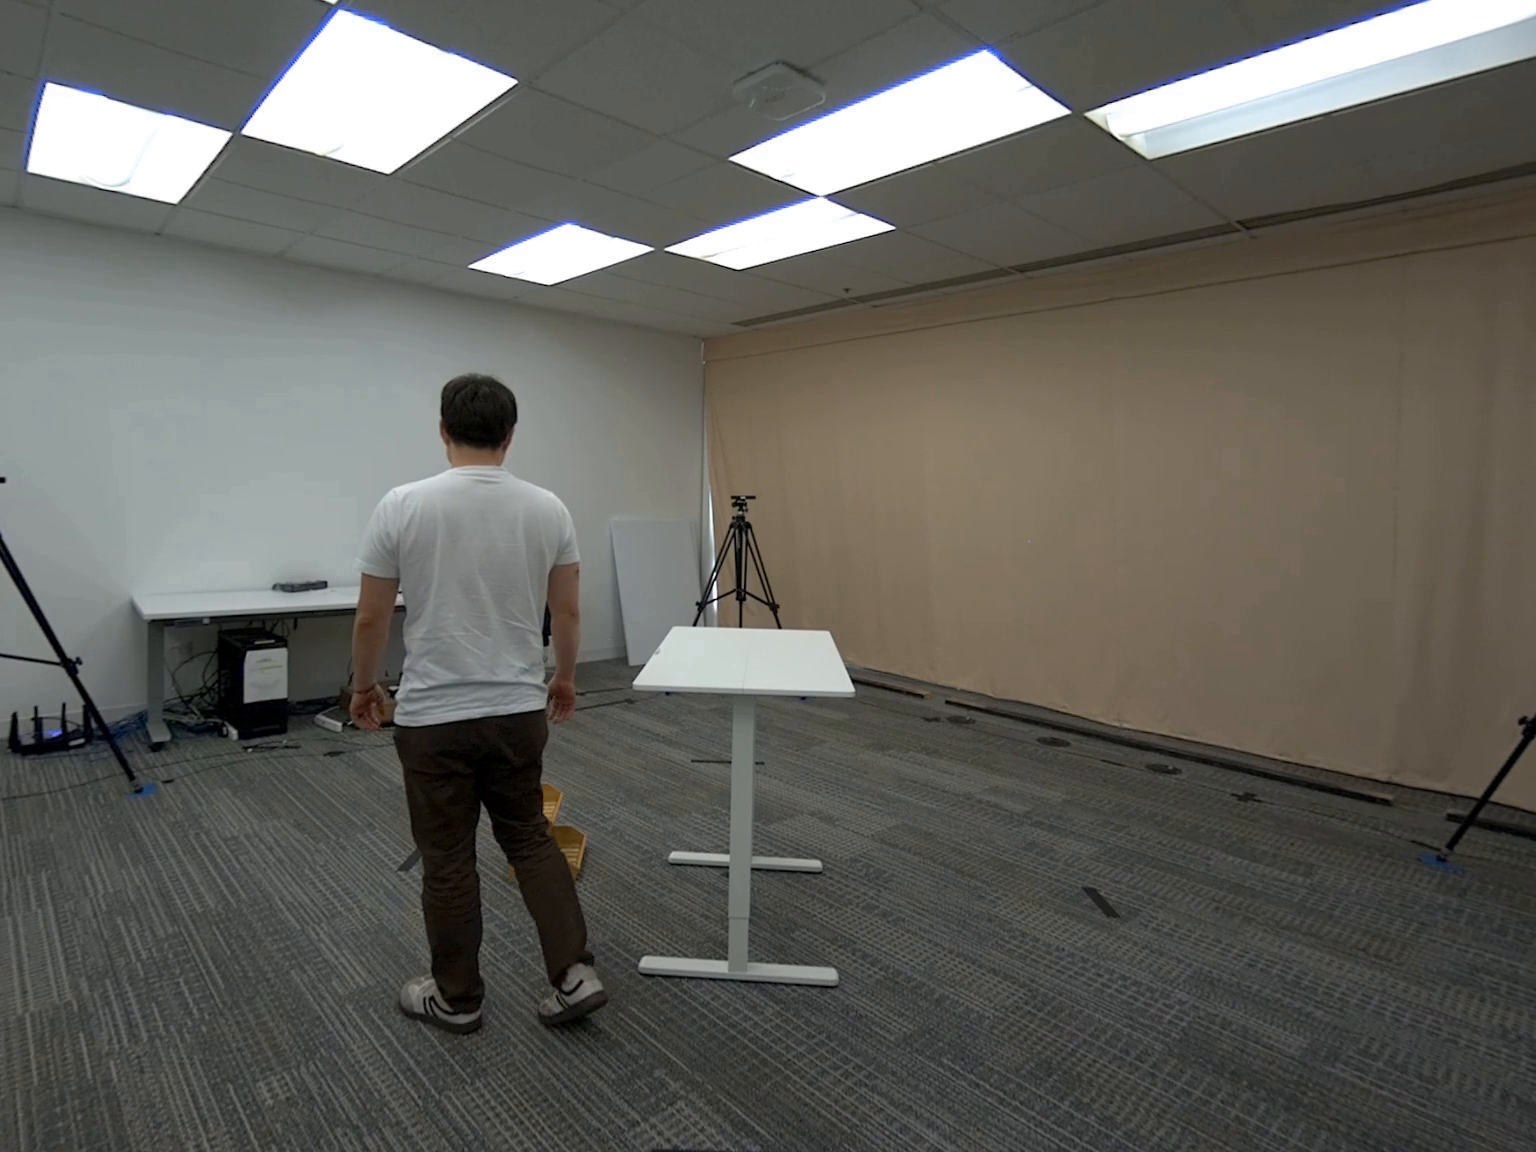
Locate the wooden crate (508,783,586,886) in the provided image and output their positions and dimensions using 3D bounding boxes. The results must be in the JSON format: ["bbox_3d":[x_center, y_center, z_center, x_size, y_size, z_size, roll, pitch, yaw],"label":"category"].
[{"bbox_3d":[-0.841,0.947,3.141,0.300,0.272,0.327,0,5,-7],"label":"wooden crate"}]
